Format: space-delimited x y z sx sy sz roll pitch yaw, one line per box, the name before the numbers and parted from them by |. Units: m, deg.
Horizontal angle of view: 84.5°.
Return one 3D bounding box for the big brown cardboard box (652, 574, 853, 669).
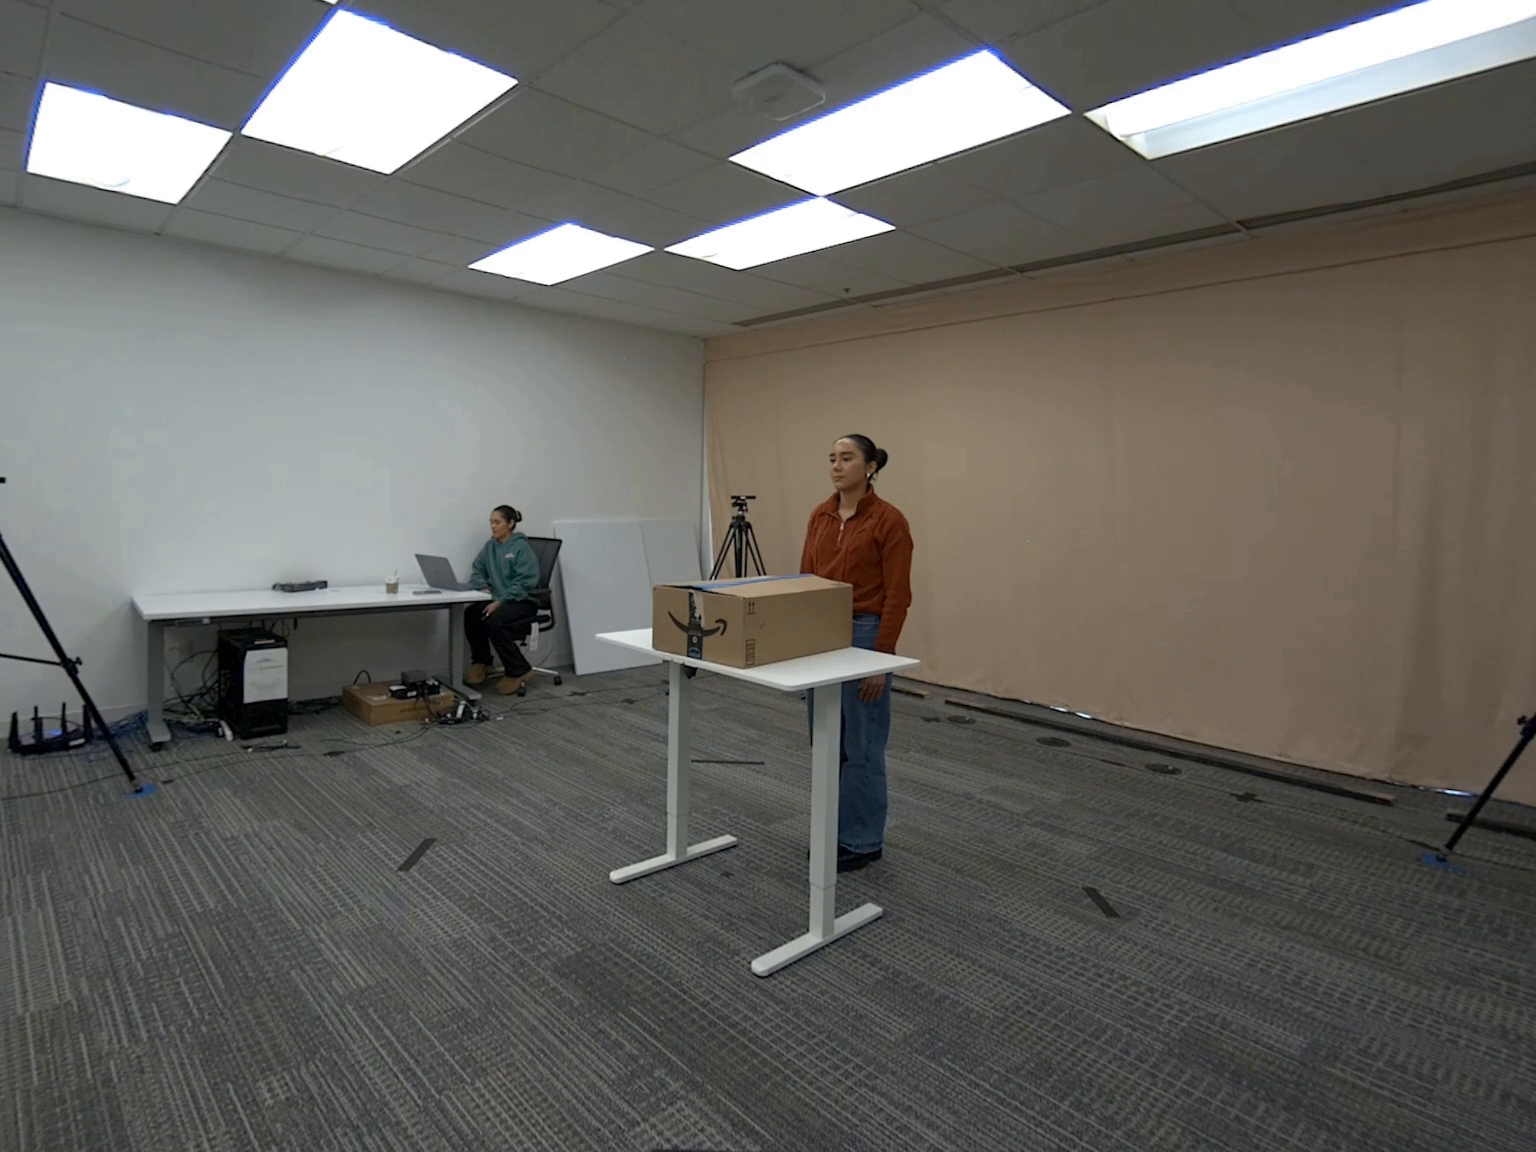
big brown cardboard box | -0.046 0.137 2.846 0.428 0.232 0.576 6 8 41
